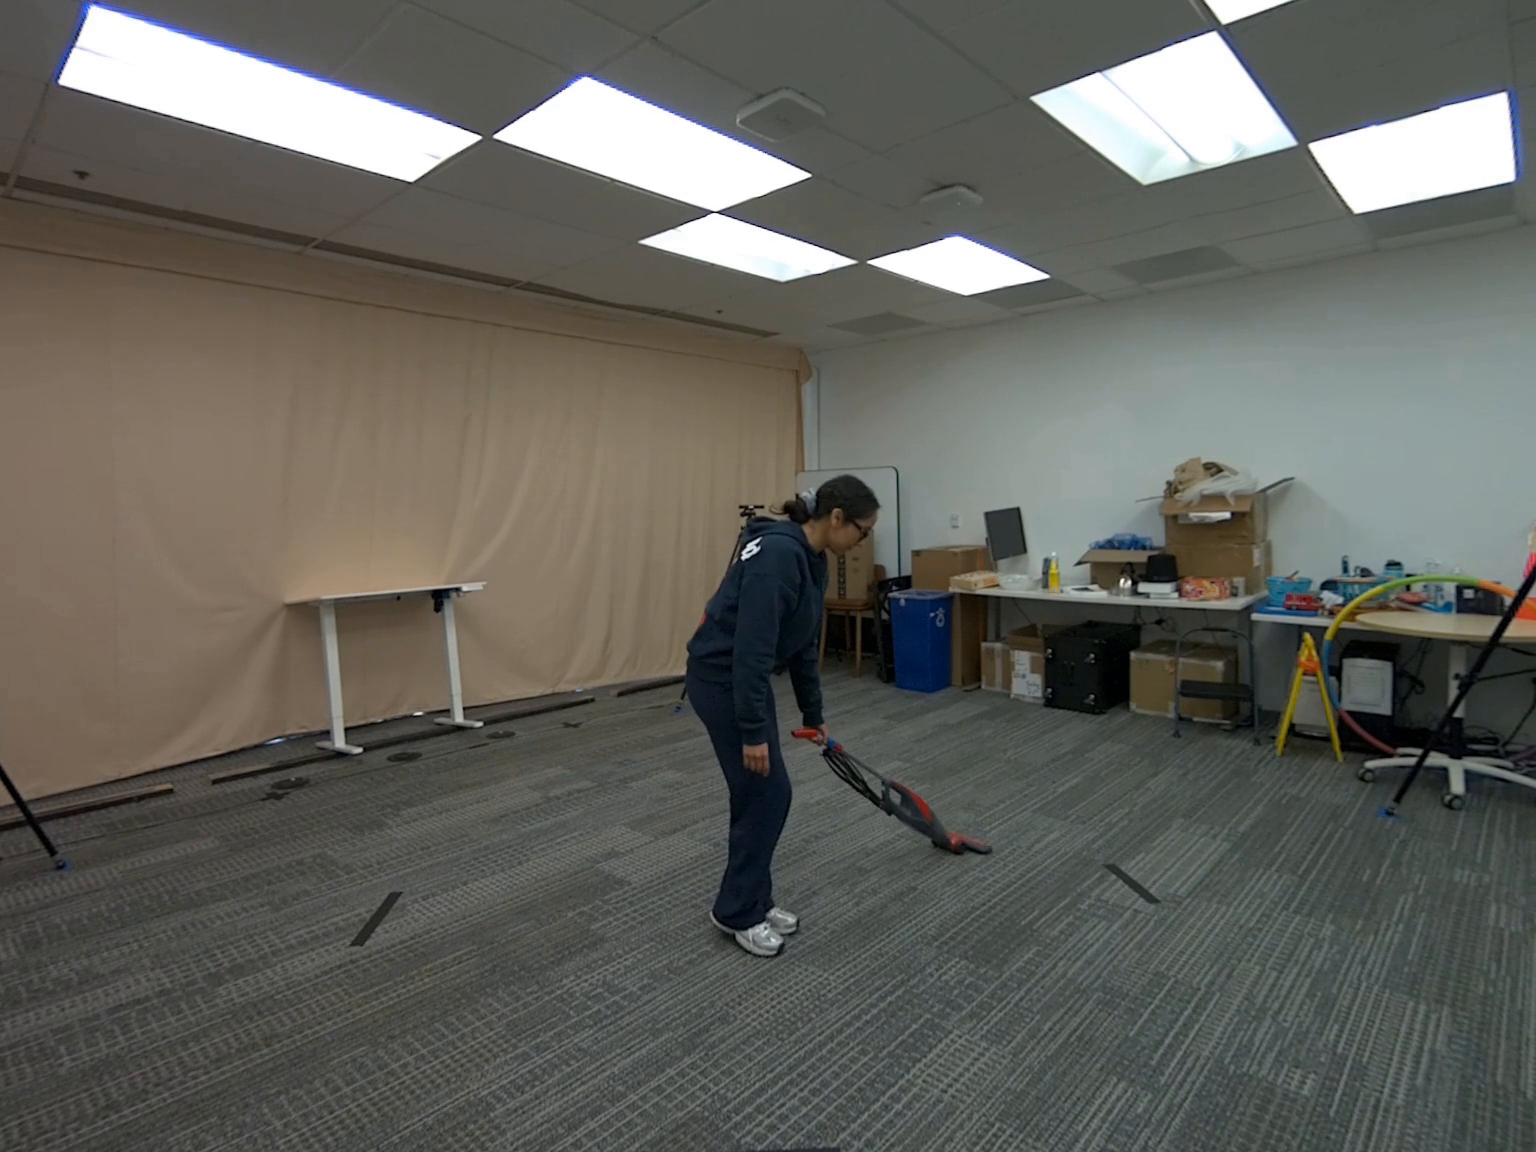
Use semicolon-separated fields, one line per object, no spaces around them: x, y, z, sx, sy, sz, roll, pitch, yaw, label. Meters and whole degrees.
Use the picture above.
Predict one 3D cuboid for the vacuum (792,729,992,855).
0.434;0.812;3.137;1.015;0.144;0.260;38;-24;-32;vacuum
